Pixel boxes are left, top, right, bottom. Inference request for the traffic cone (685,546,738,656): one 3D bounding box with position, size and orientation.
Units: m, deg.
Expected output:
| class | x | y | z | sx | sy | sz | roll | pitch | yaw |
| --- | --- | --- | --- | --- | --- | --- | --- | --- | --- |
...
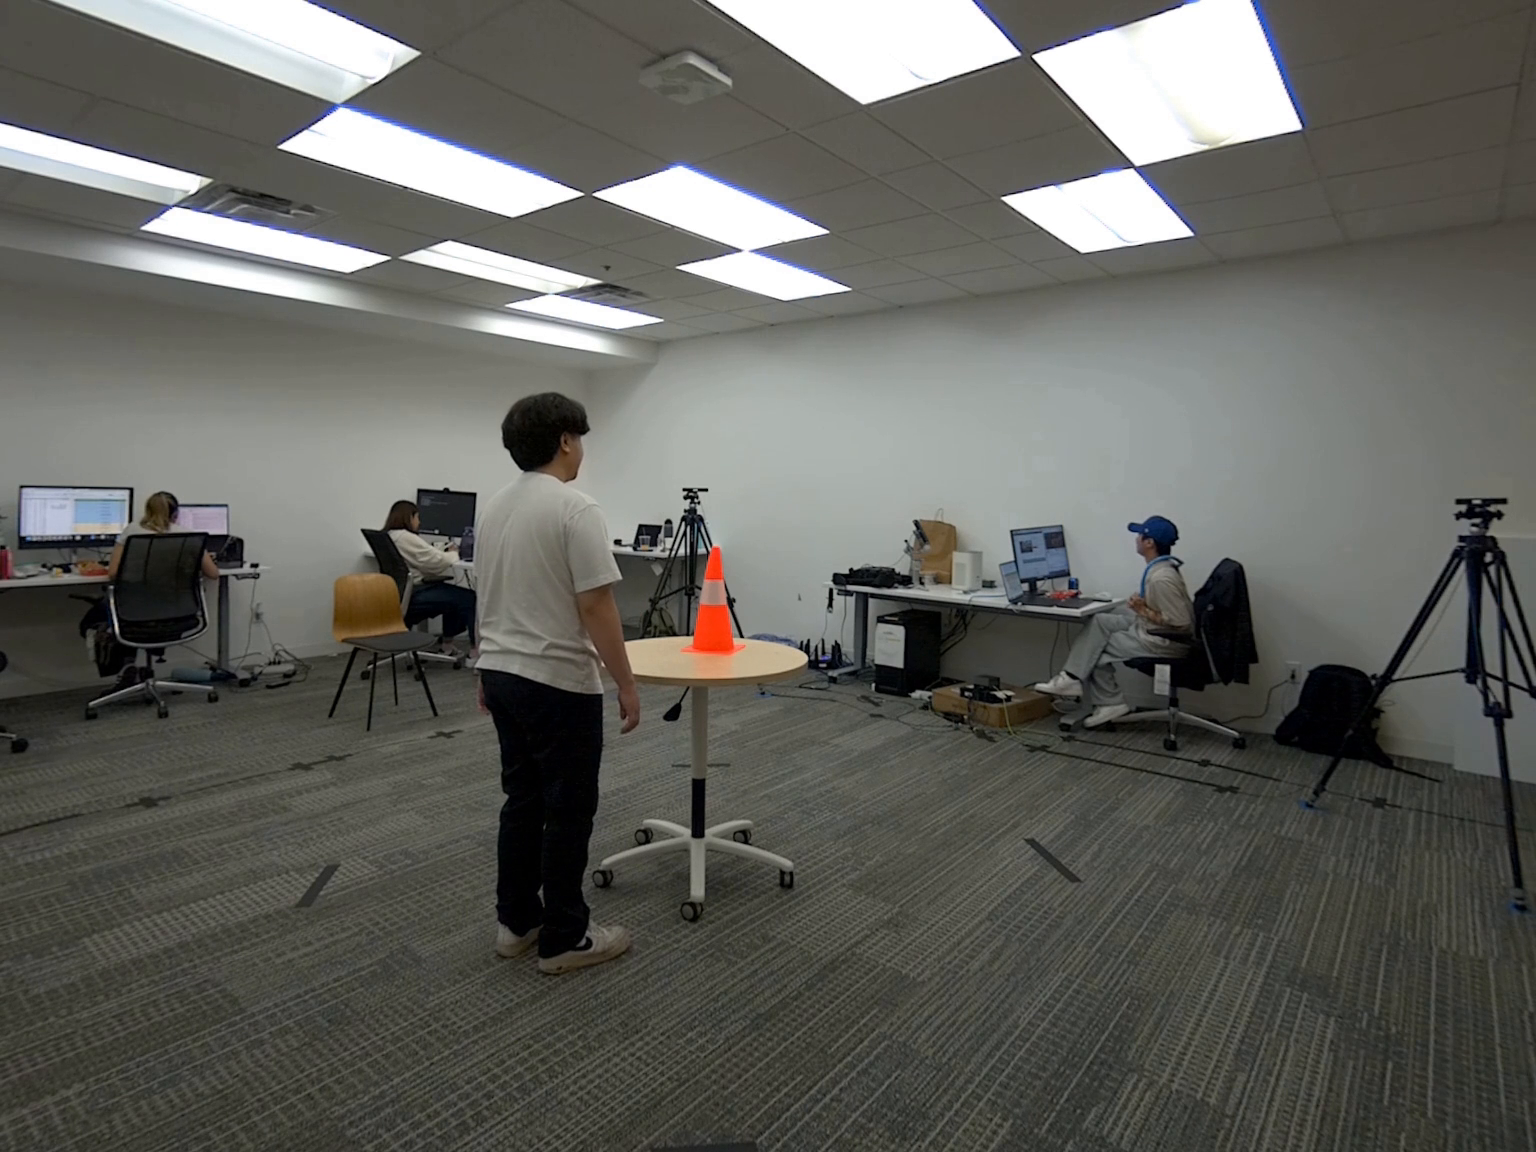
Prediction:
| class | x | y | z | sx | sy | sz | roll | pitch | yaw |
| --- | --- | --- | --- | --- | --- | --- | --- | --- | --- |
| traffic cone | -0.212 | 0.081 | 3.150 | 0.209 | 0.382 | 0.200 | 3 | 5 | 17 |
